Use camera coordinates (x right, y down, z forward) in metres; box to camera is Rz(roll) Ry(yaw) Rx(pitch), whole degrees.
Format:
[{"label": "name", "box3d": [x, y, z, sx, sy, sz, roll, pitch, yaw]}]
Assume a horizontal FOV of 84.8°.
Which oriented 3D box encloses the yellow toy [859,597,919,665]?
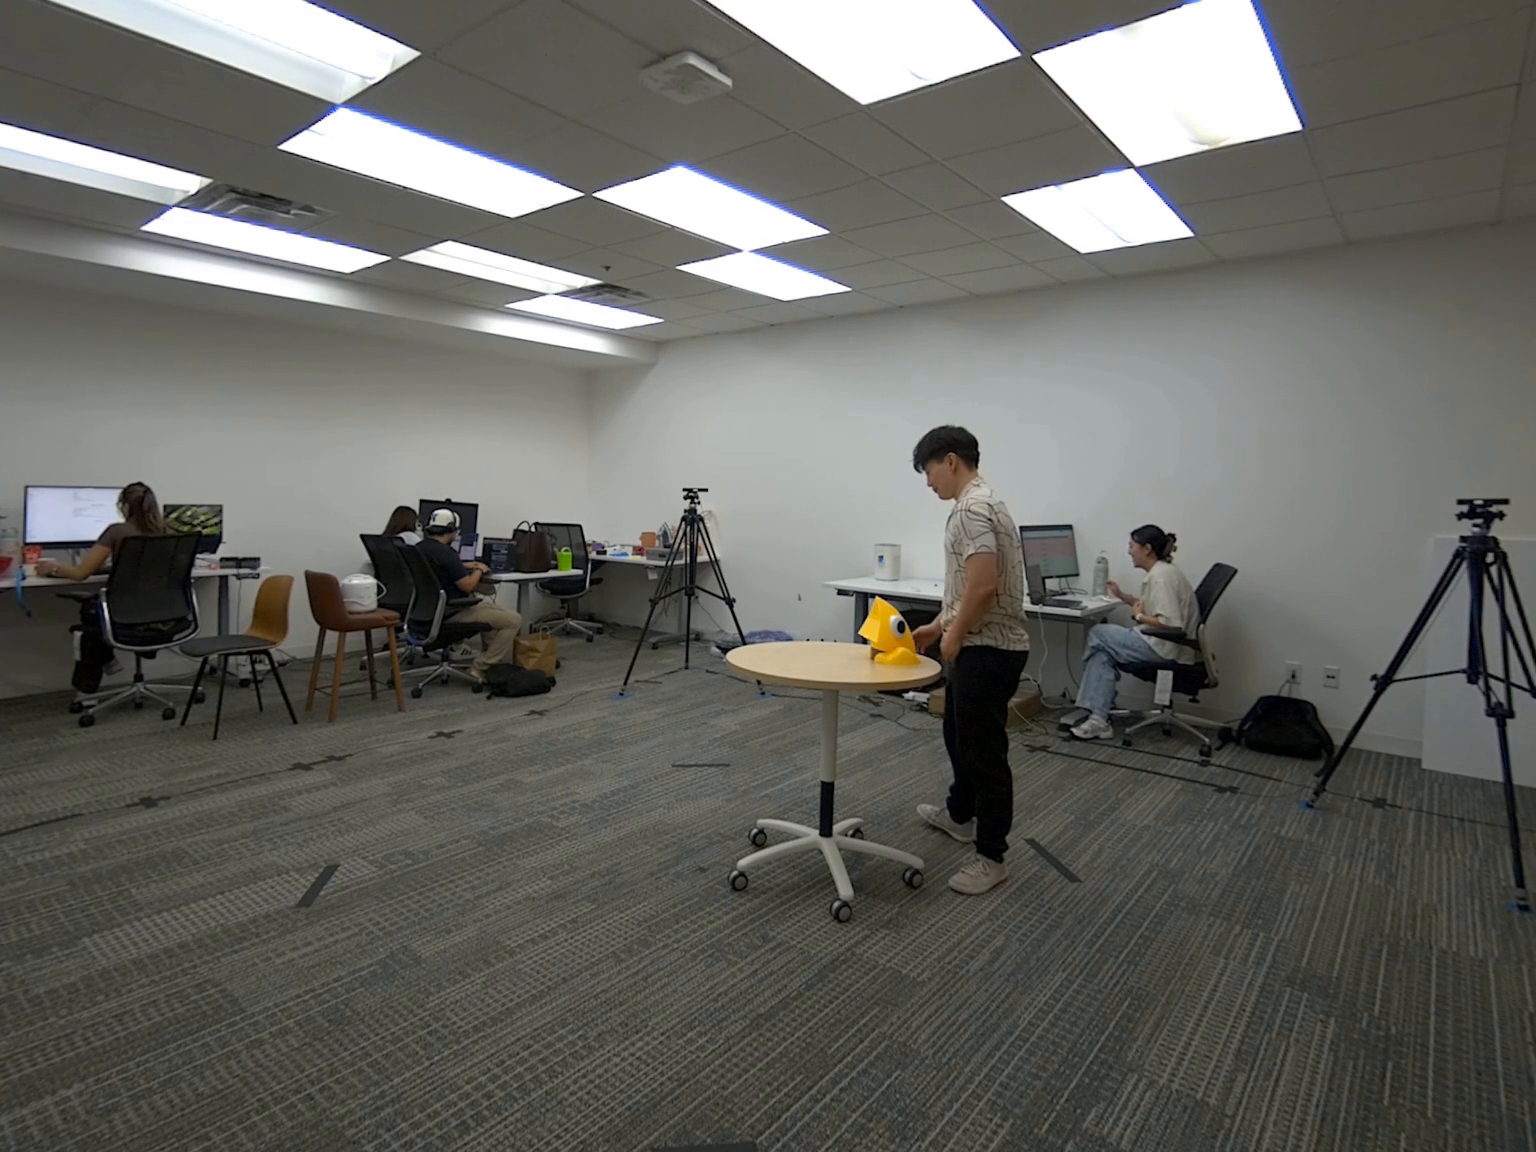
[{"label": "yellow toy", "box3d": [0.446, 0.187, 3.106, 0.191, 0.230, 0.208, 0, 4, -11]}]
